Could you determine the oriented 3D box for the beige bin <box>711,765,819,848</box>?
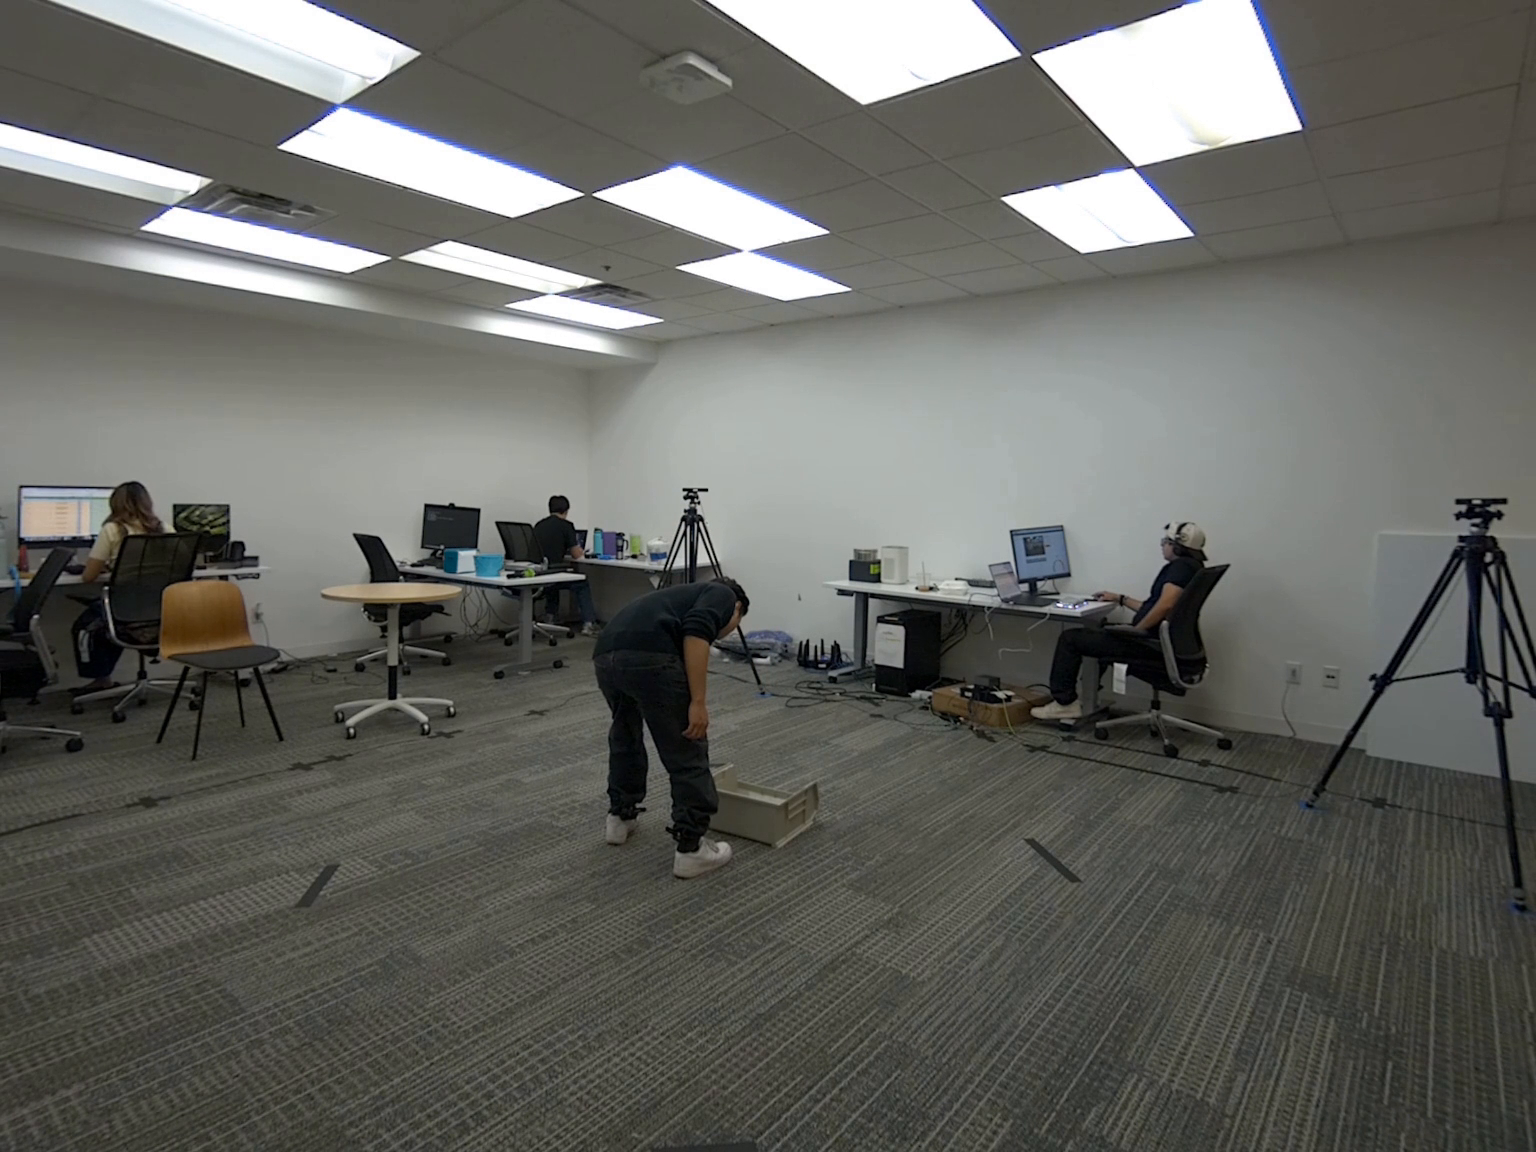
[{"bbox_3d":[-0.058,0.942,3.555,0.435,0.188,0.368,4,7,30],"label":"beige bin"}]
